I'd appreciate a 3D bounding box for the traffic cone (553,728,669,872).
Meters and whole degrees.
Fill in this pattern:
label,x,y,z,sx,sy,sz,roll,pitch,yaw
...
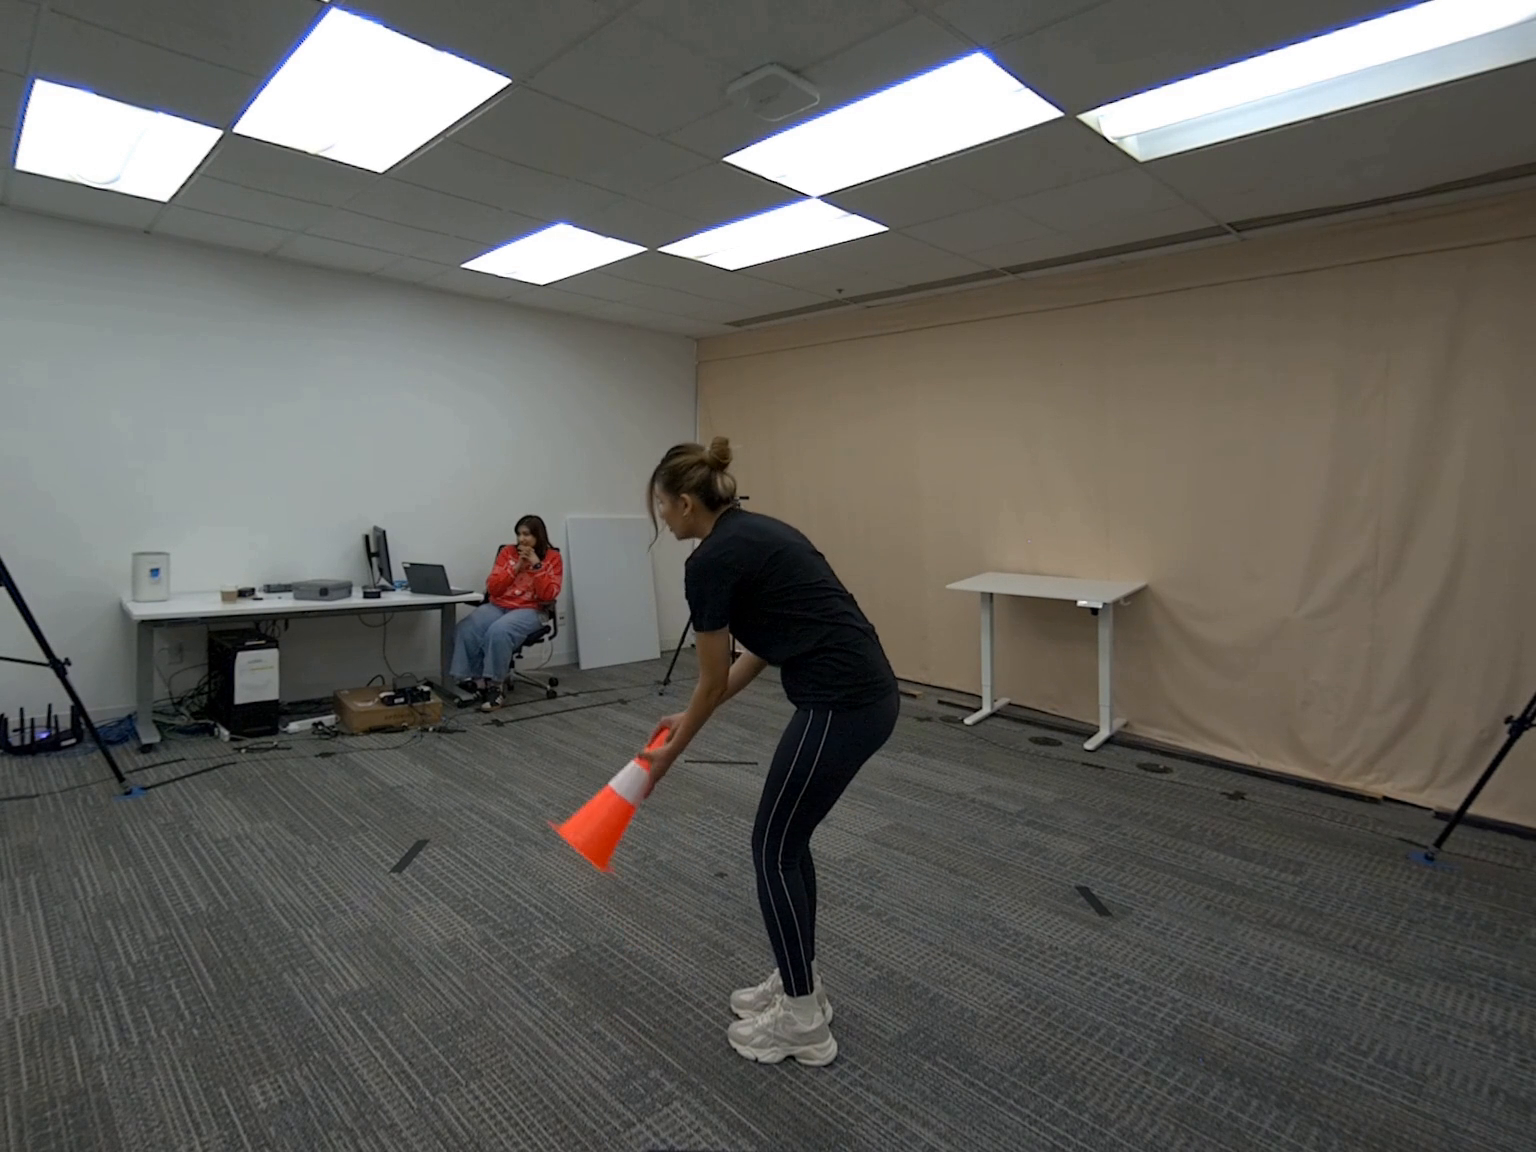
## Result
label,x,y,z,sx,sy,sz,roll,pitch,yaw
traffic cone,-0.387,0.570,2.272,0.207,0.384,0.201,35,-16,16
